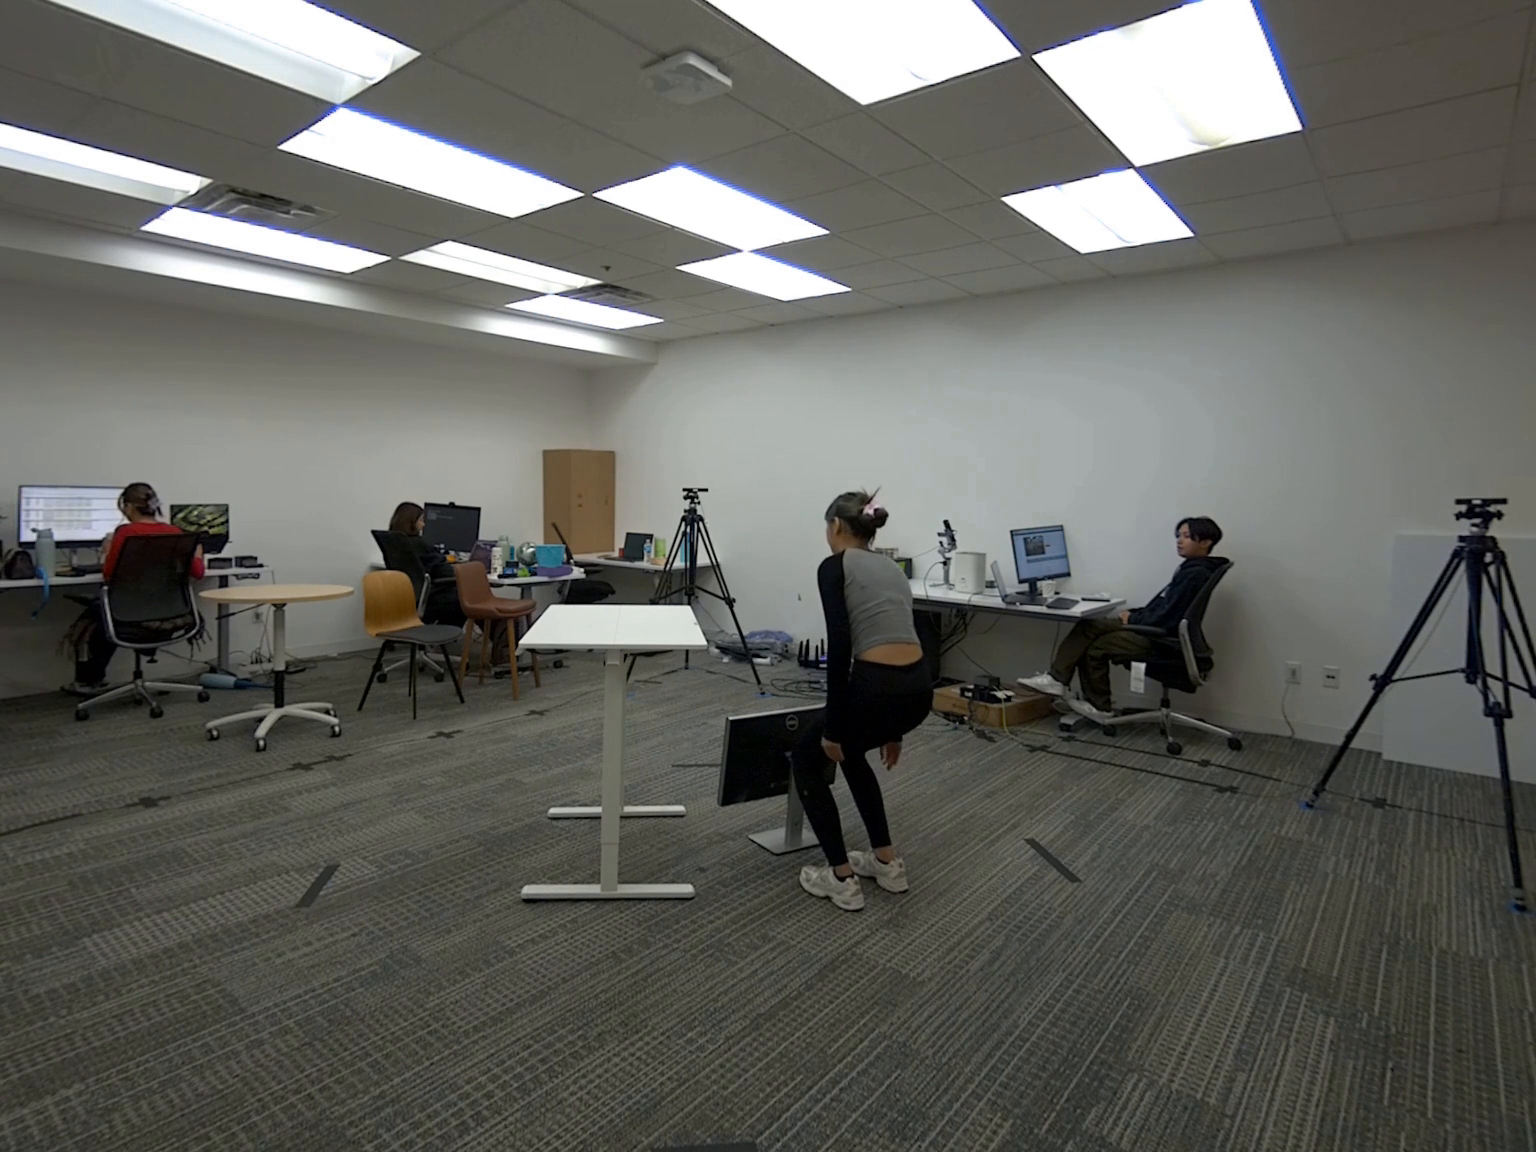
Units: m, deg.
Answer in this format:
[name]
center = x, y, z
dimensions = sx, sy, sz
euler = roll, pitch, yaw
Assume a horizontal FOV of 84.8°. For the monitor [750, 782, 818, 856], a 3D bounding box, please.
[monitor]
center = 0.077, 0.791, 3.369
dimensions = 0.524, 0.522, 0.193
euler = -1, 1, -34
